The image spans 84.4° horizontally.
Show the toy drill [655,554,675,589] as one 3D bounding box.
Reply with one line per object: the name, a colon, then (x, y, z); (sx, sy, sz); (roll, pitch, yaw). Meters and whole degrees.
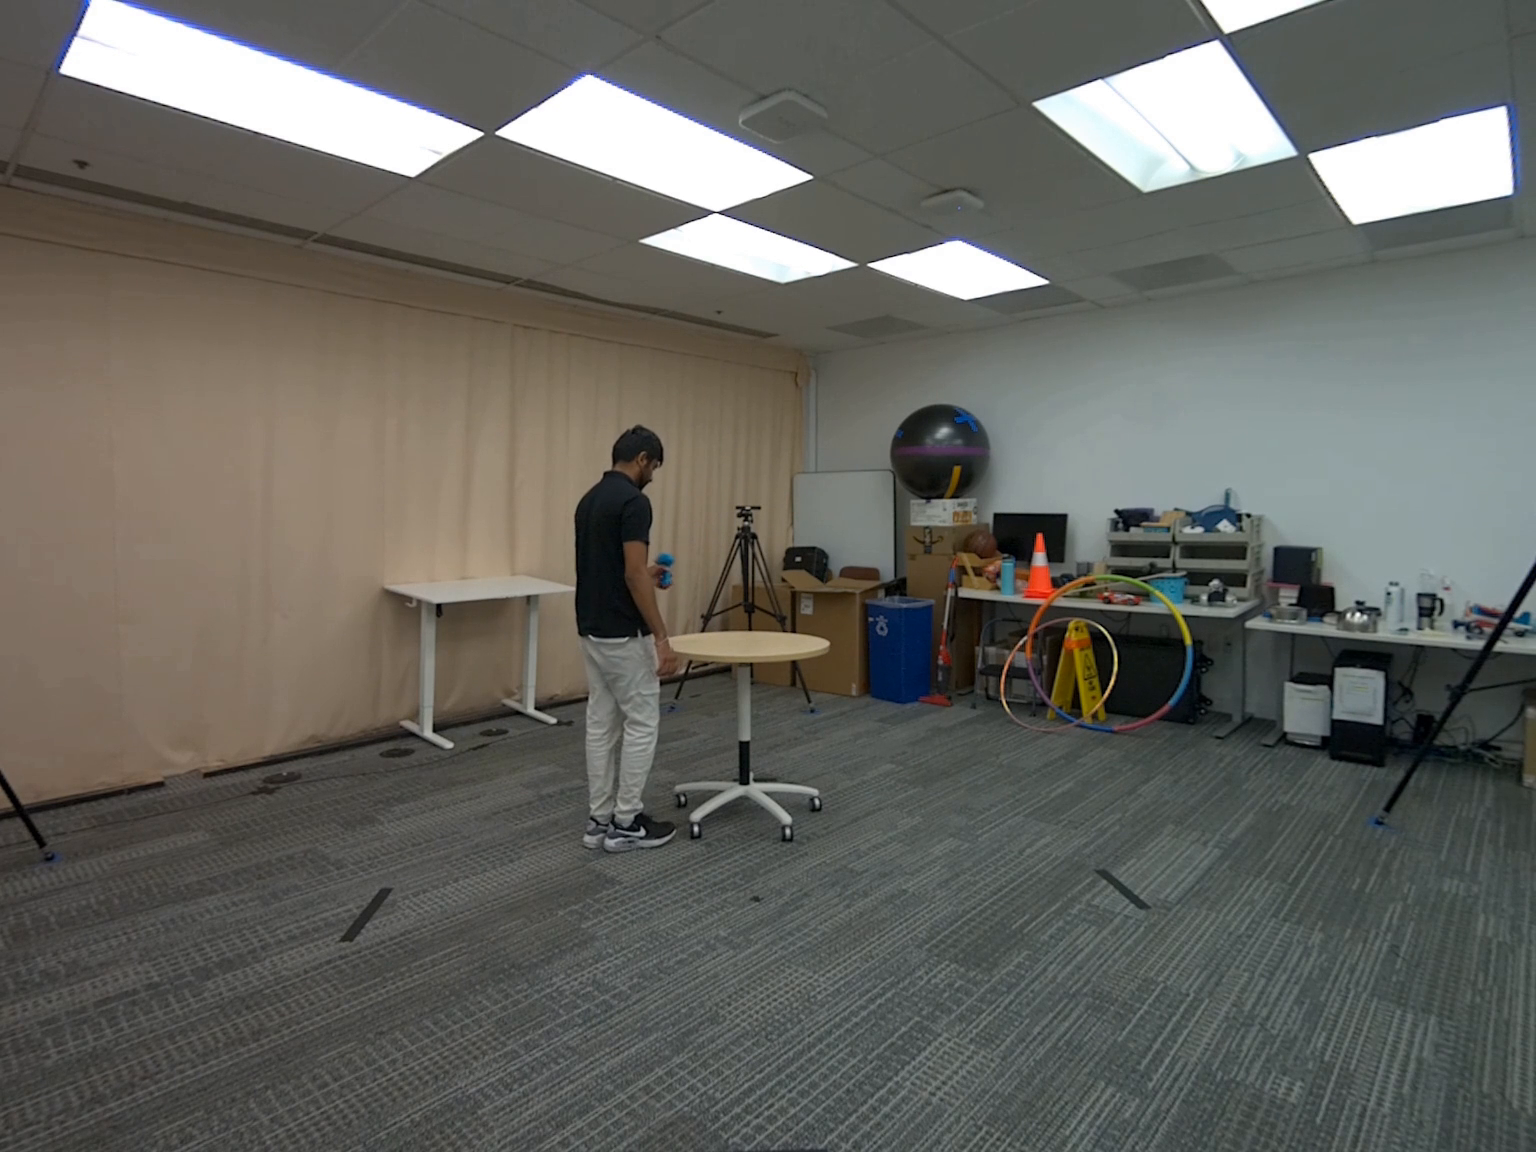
toy drill: (-0.468, -0.033, 3.765); (0.059, 0.146, 0.175); (7, -3, -37)
